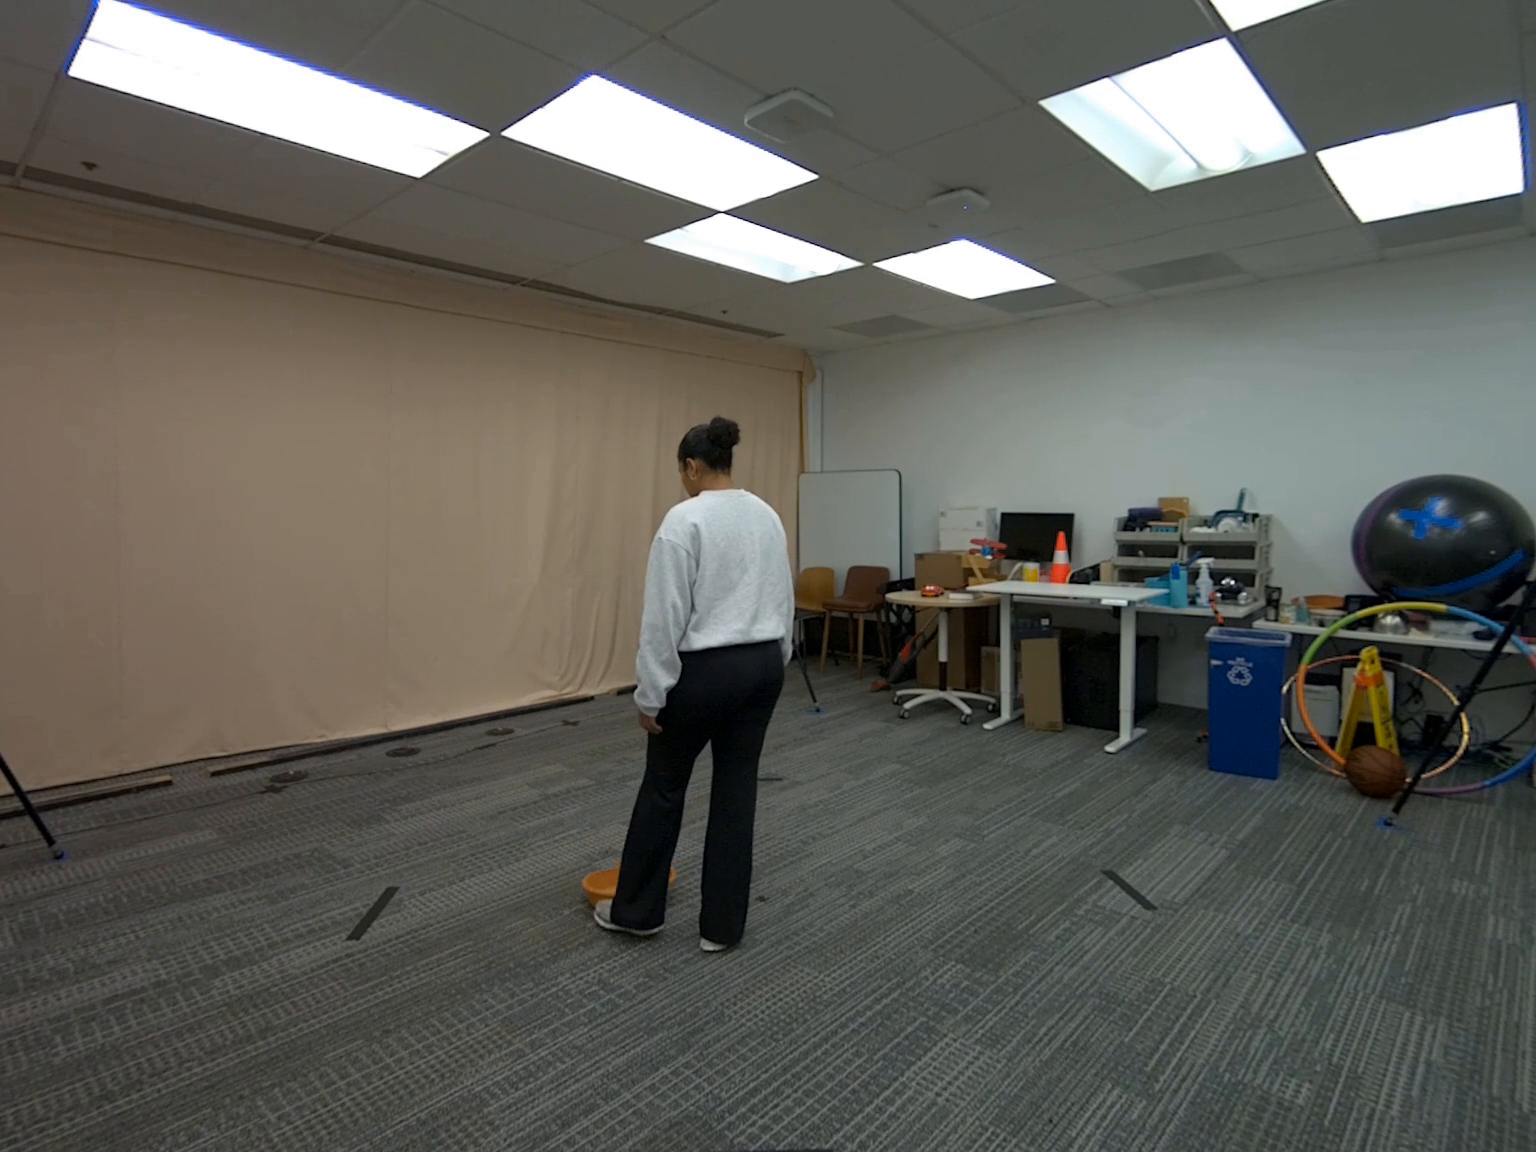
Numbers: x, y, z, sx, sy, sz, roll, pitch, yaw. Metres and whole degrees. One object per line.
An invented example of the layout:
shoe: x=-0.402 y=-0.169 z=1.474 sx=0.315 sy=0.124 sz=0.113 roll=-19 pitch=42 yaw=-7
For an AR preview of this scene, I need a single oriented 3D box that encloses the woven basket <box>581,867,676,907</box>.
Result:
woven basket: x=-0.478 y=1.104 z=2.984 sx=0.340 sy=0.073 sz=0.259 roll=-1 pitch=1 yaw=-32
